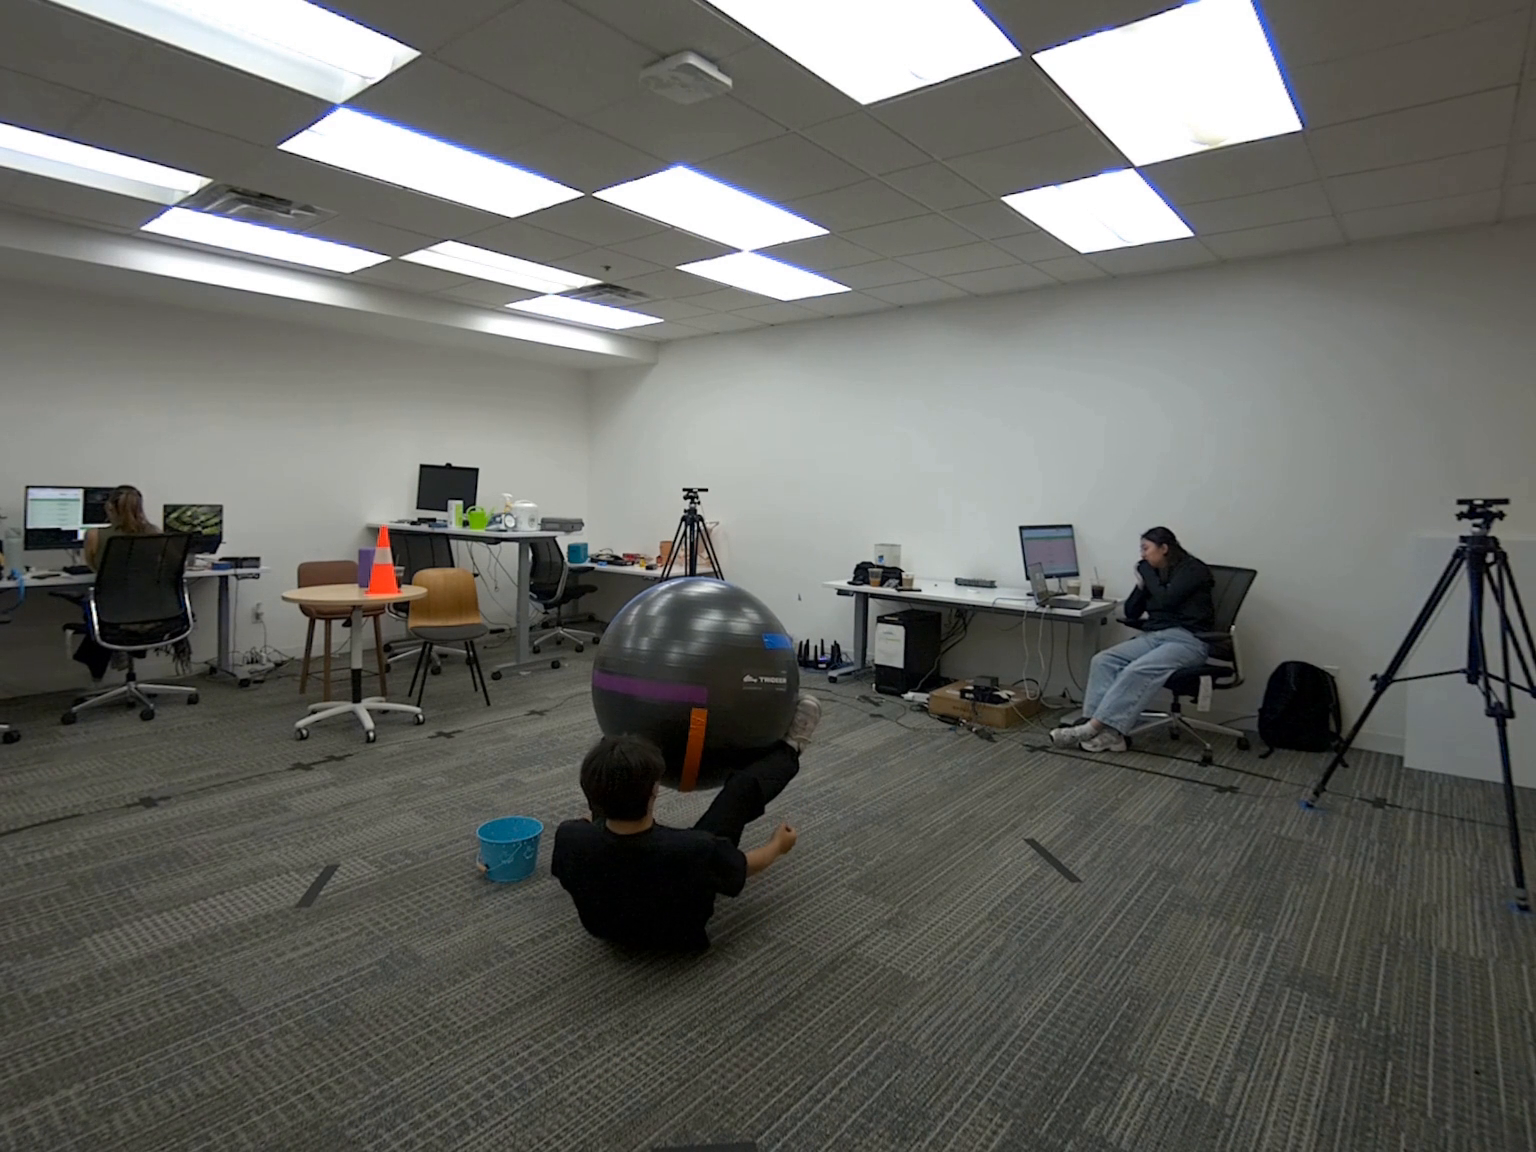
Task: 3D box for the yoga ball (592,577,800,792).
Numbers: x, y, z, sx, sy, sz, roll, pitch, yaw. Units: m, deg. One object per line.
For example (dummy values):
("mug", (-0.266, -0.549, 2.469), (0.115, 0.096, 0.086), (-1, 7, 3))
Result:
("yoga ball", (-0.277, 0.389, 3.101), (0.757, 0.755, 0.762), (1, 4, -2))
